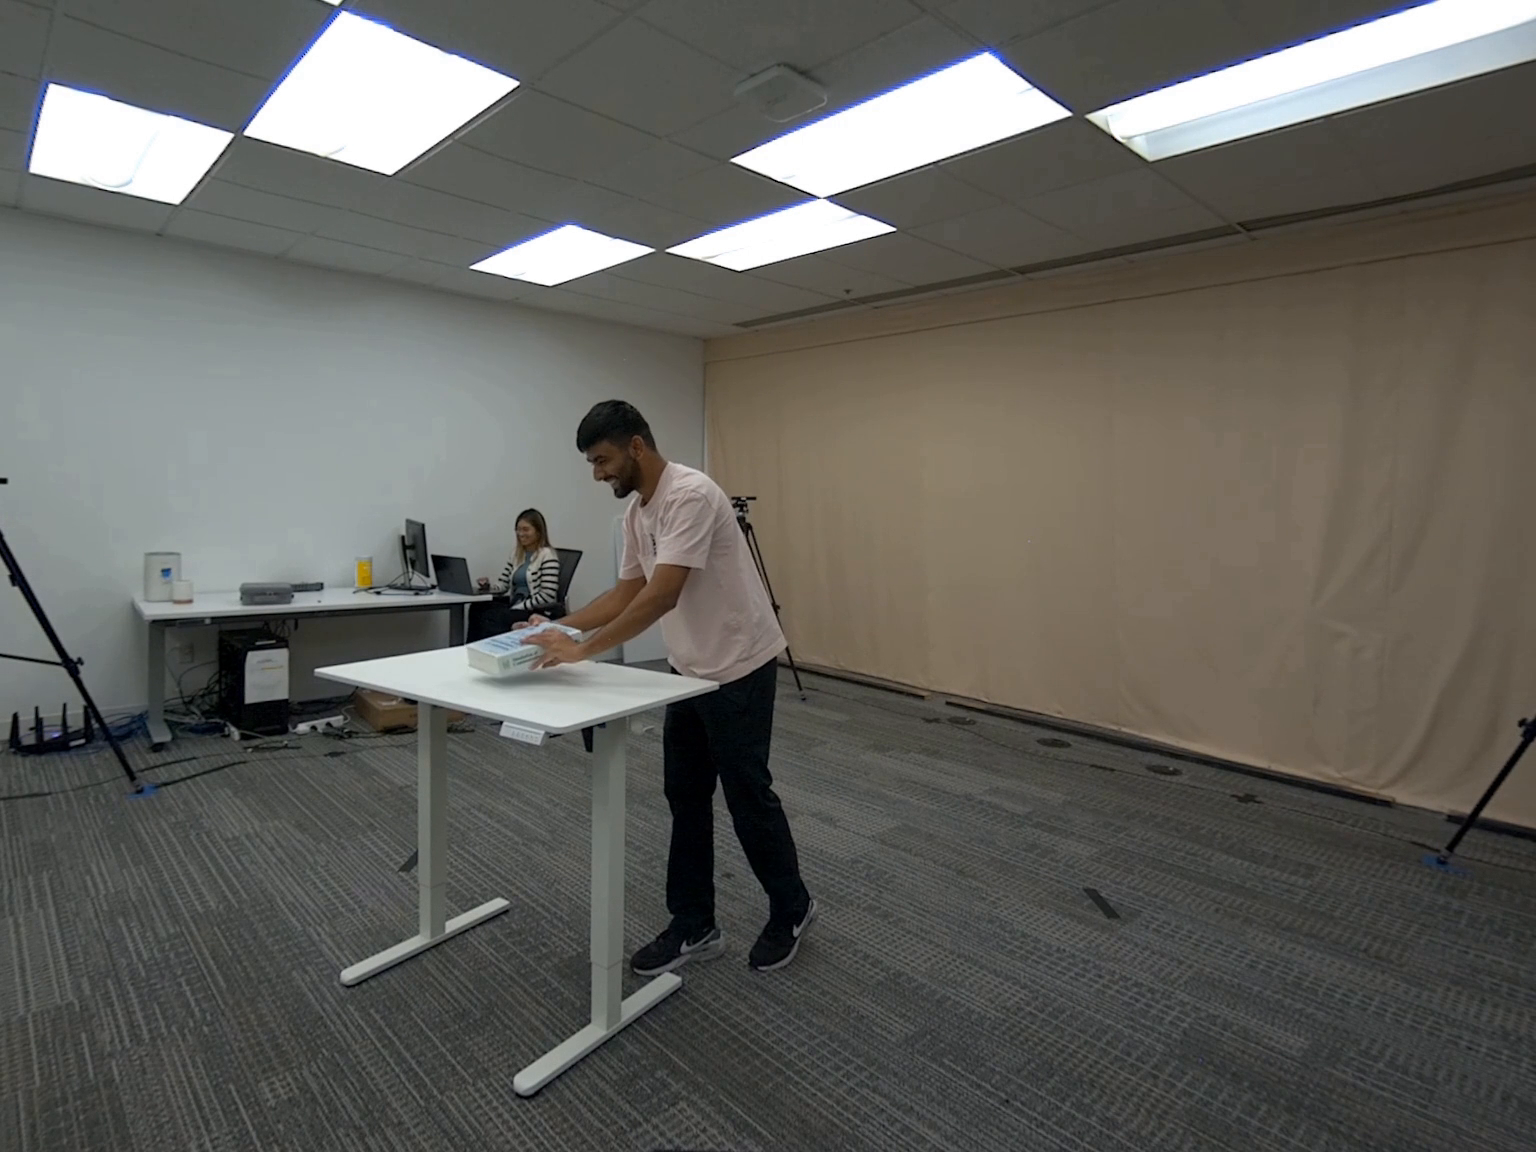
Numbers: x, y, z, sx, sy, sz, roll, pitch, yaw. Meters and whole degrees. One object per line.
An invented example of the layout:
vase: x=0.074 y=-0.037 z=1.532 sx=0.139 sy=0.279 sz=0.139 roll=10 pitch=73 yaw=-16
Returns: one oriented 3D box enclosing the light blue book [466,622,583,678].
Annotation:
light blue book: x=-0.676 y=0.198 z=2.326 sx=0.256 sy=0.058 sz=0.196 roll=-16 pitch=16 yaw=-42
